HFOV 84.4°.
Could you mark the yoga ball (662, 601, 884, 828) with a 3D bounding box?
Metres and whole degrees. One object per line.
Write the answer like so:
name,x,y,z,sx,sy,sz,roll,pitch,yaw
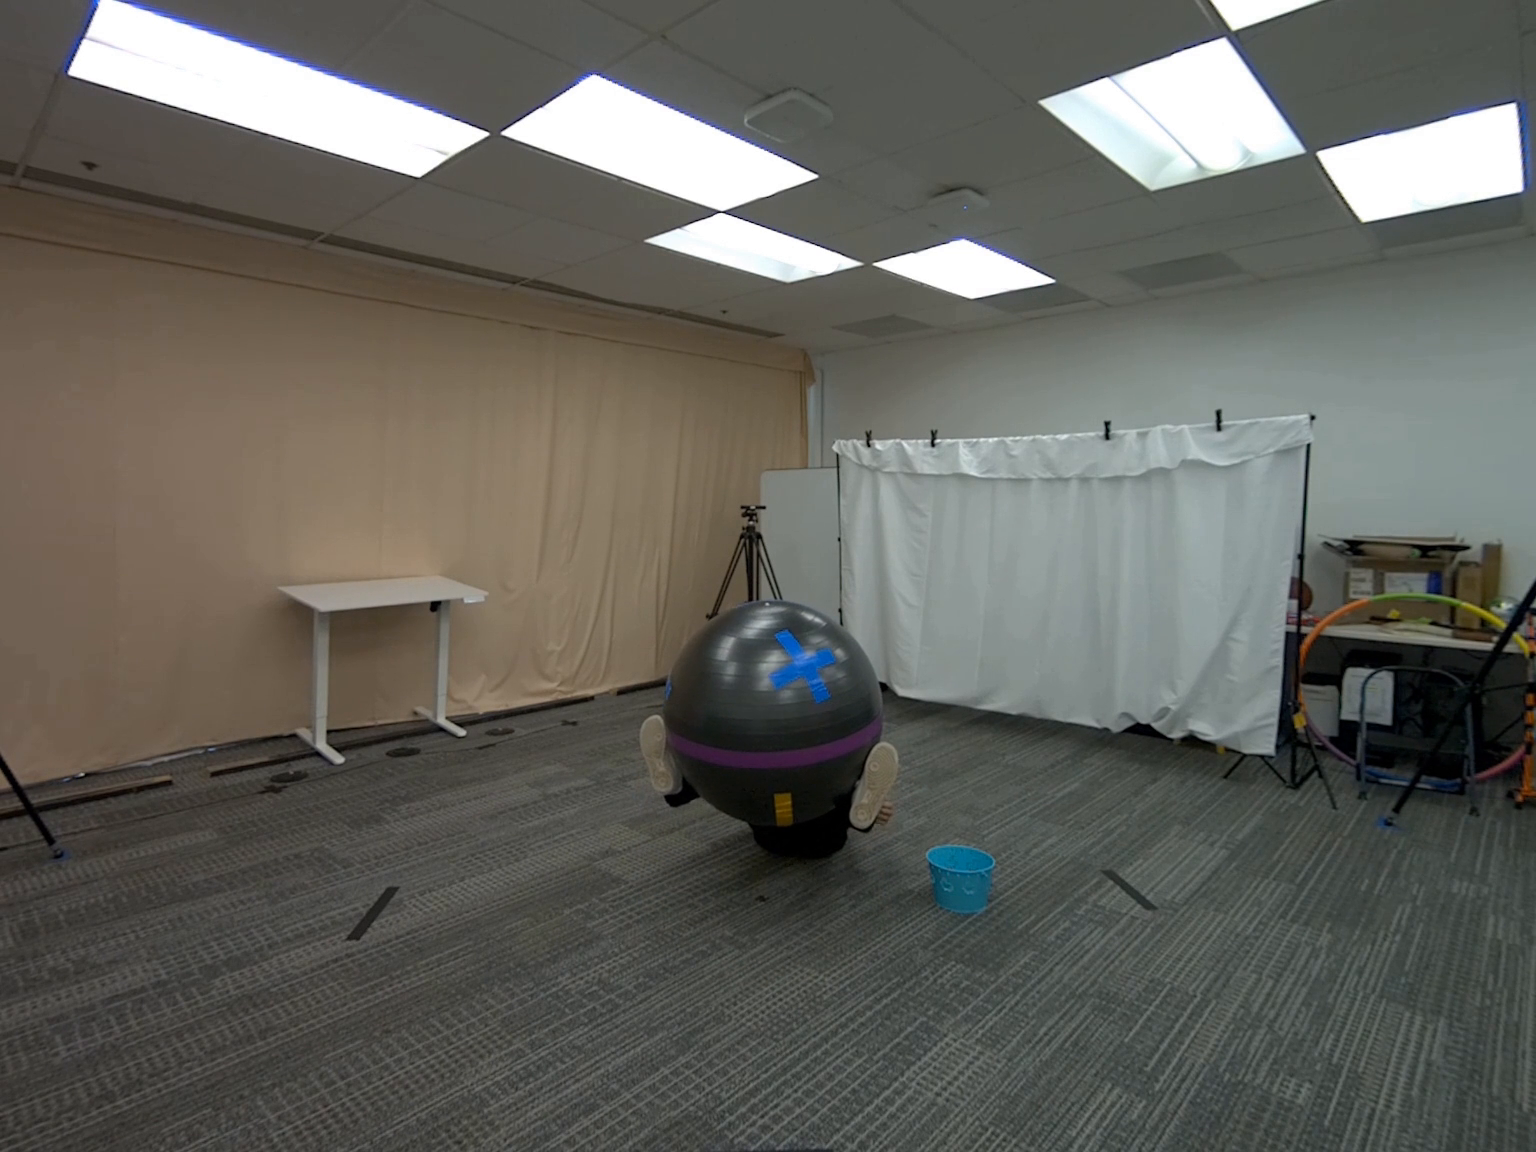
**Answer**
yoga ball,0.019,0.470,2.918,0.757,0.756,0.760,0,4,-2
